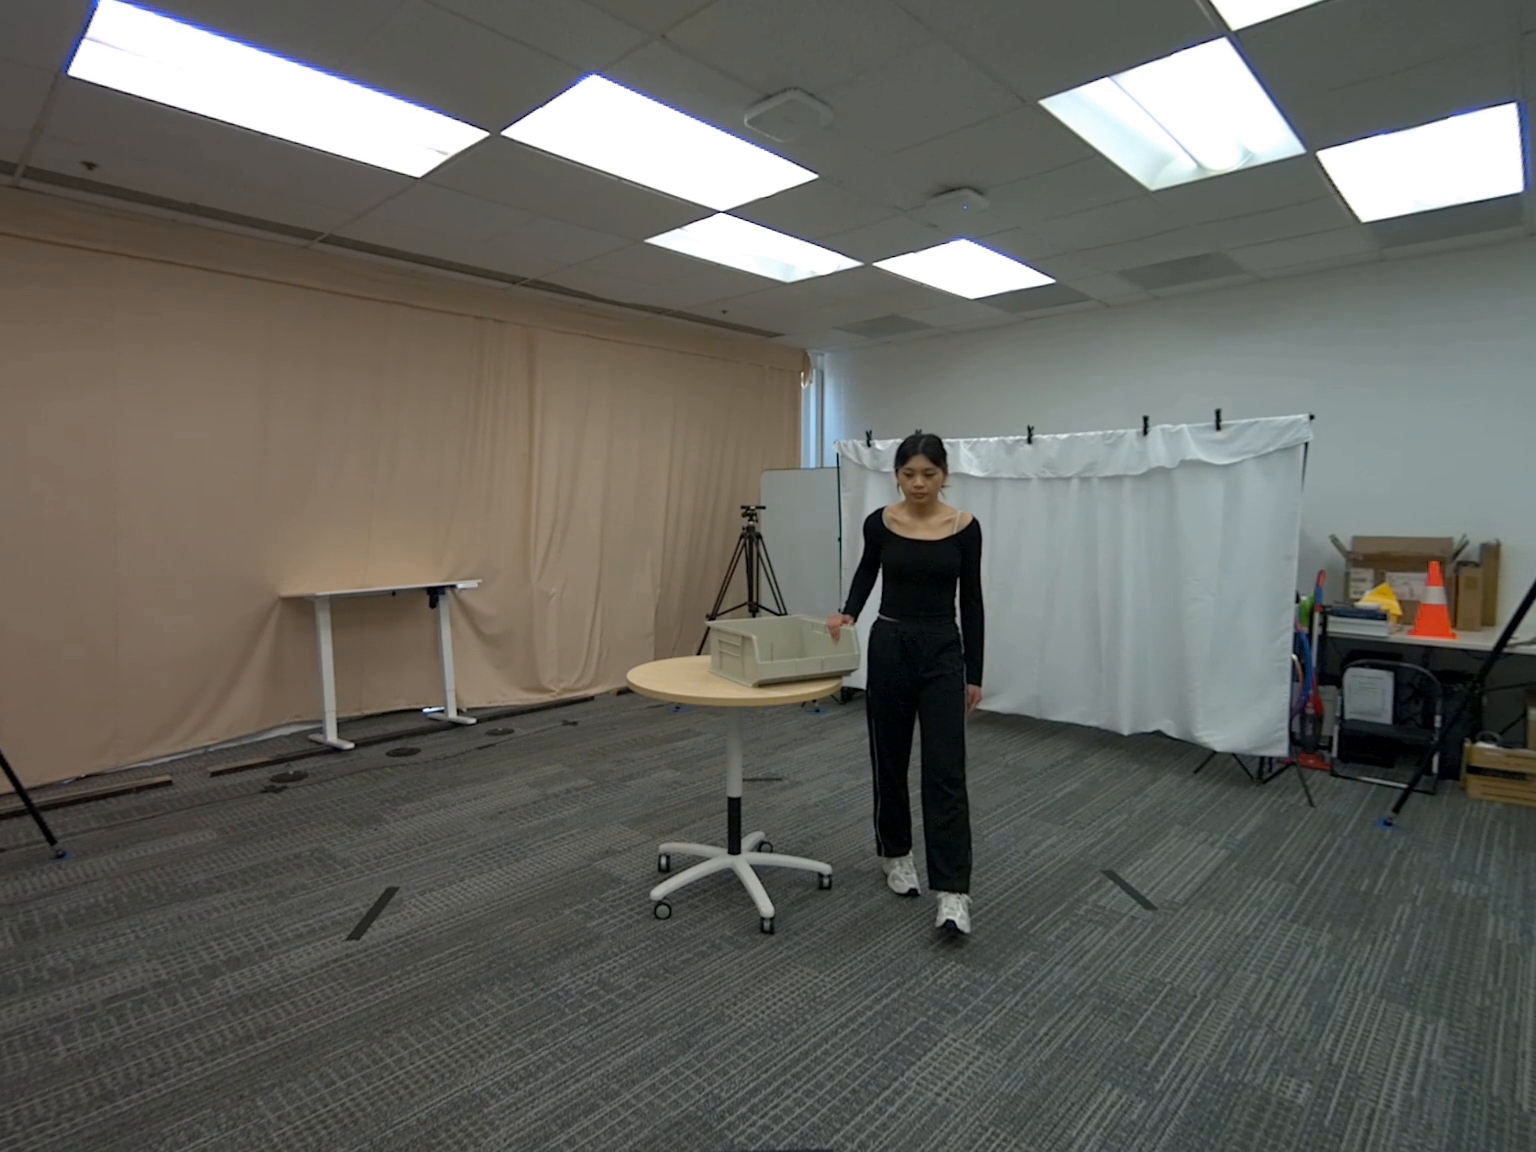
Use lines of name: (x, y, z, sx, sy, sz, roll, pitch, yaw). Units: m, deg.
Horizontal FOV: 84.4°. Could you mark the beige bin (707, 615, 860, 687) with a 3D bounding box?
beige bin: (0.051, 0.263, 2.986, 0.411, 0.188, 0.388, -3, 4, -30)
